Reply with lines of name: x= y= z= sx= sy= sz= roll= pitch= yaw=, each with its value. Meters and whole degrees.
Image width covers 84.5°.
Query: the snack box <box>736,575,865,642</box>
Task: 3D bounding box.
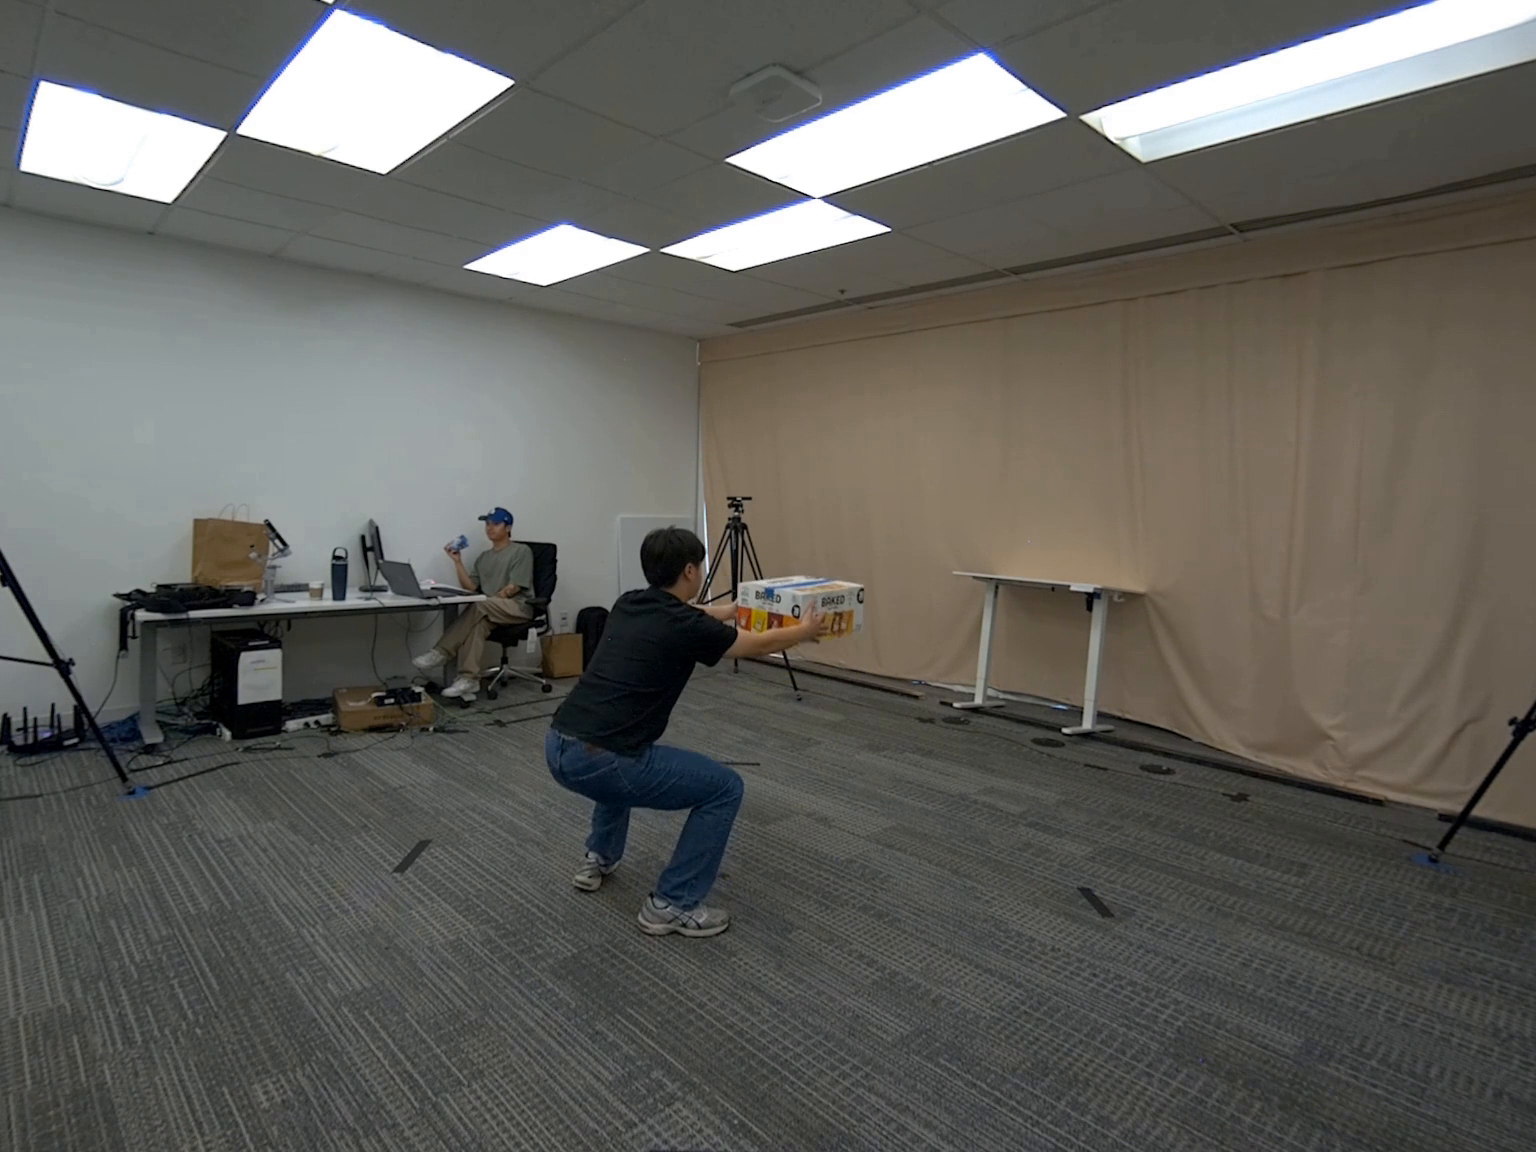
snack box: x=0.129 y=0.136 z=3.438 sx=0.349 sy=0.205 sz=0.396 roll=9 pitch=9 yaw=43
